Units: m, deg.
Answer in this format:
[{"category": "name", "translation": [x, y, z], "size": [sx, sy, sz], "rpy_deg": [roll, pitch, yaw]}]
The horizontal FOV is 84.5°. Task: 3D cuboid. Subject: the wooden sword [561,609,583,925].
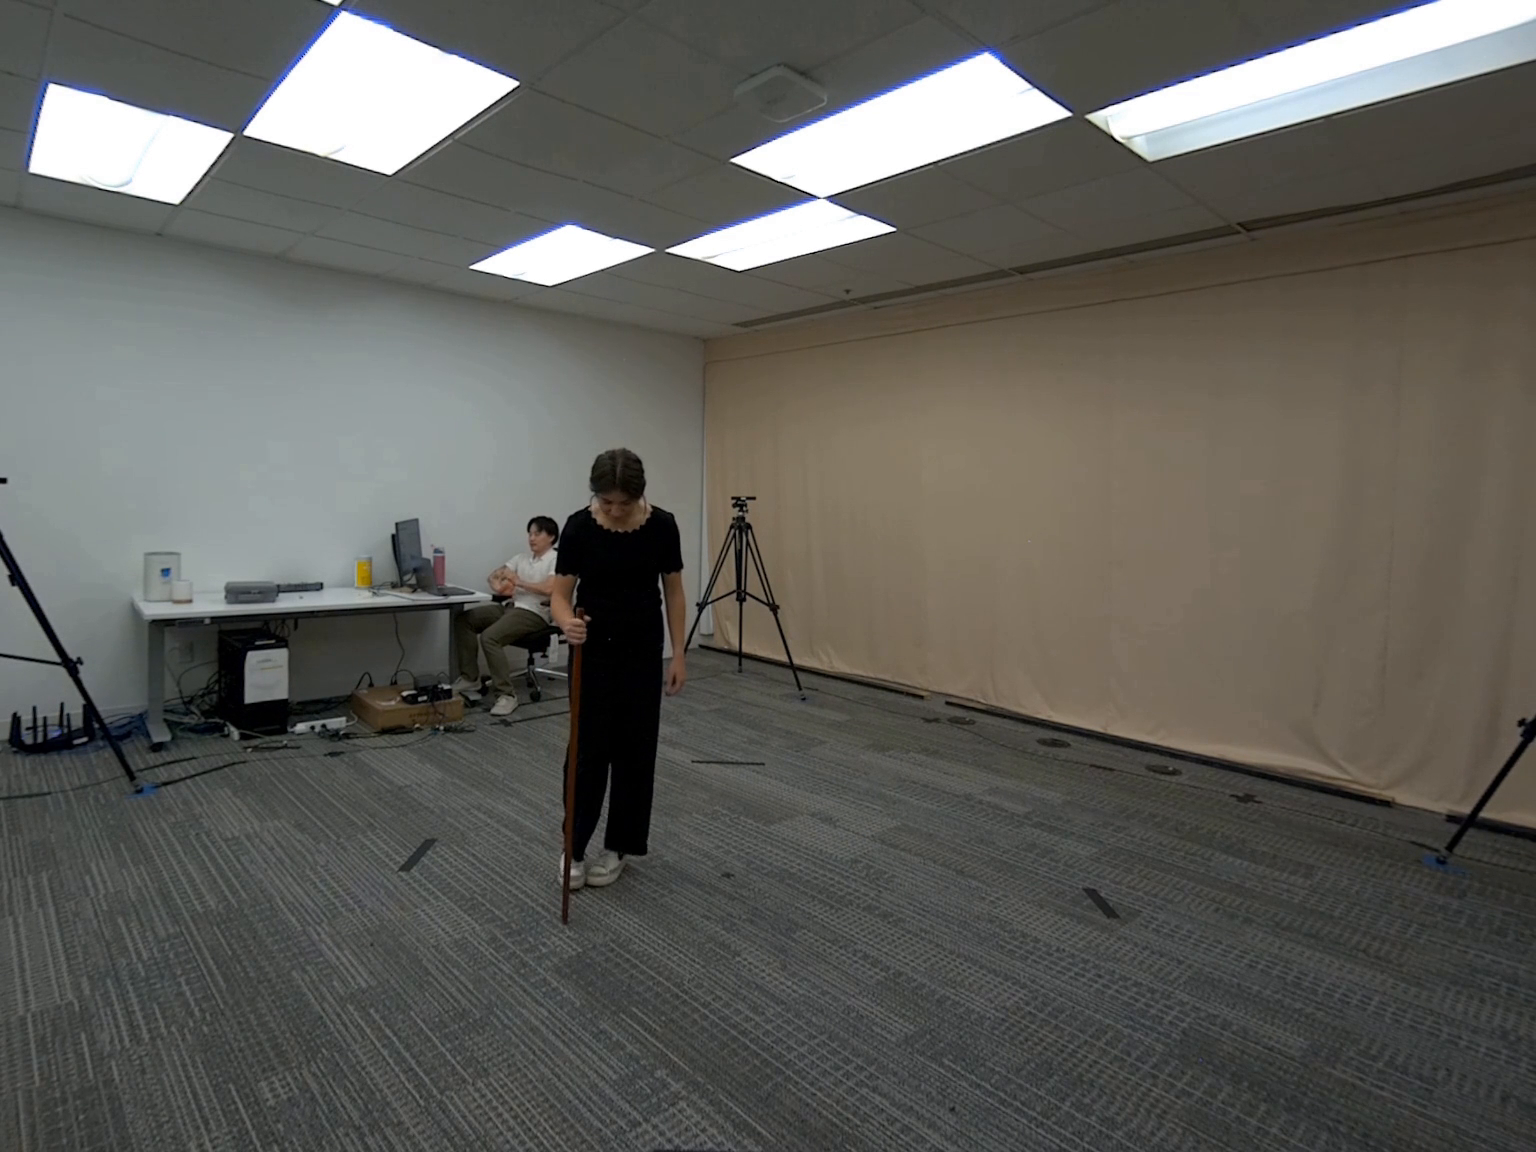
[{"category": "wooden sword", "translation": [-0.648, 0.639, 2.718], "size": [0.051, 1.023, 0.024], "rpy_deg": [3, 2, 1]}]
